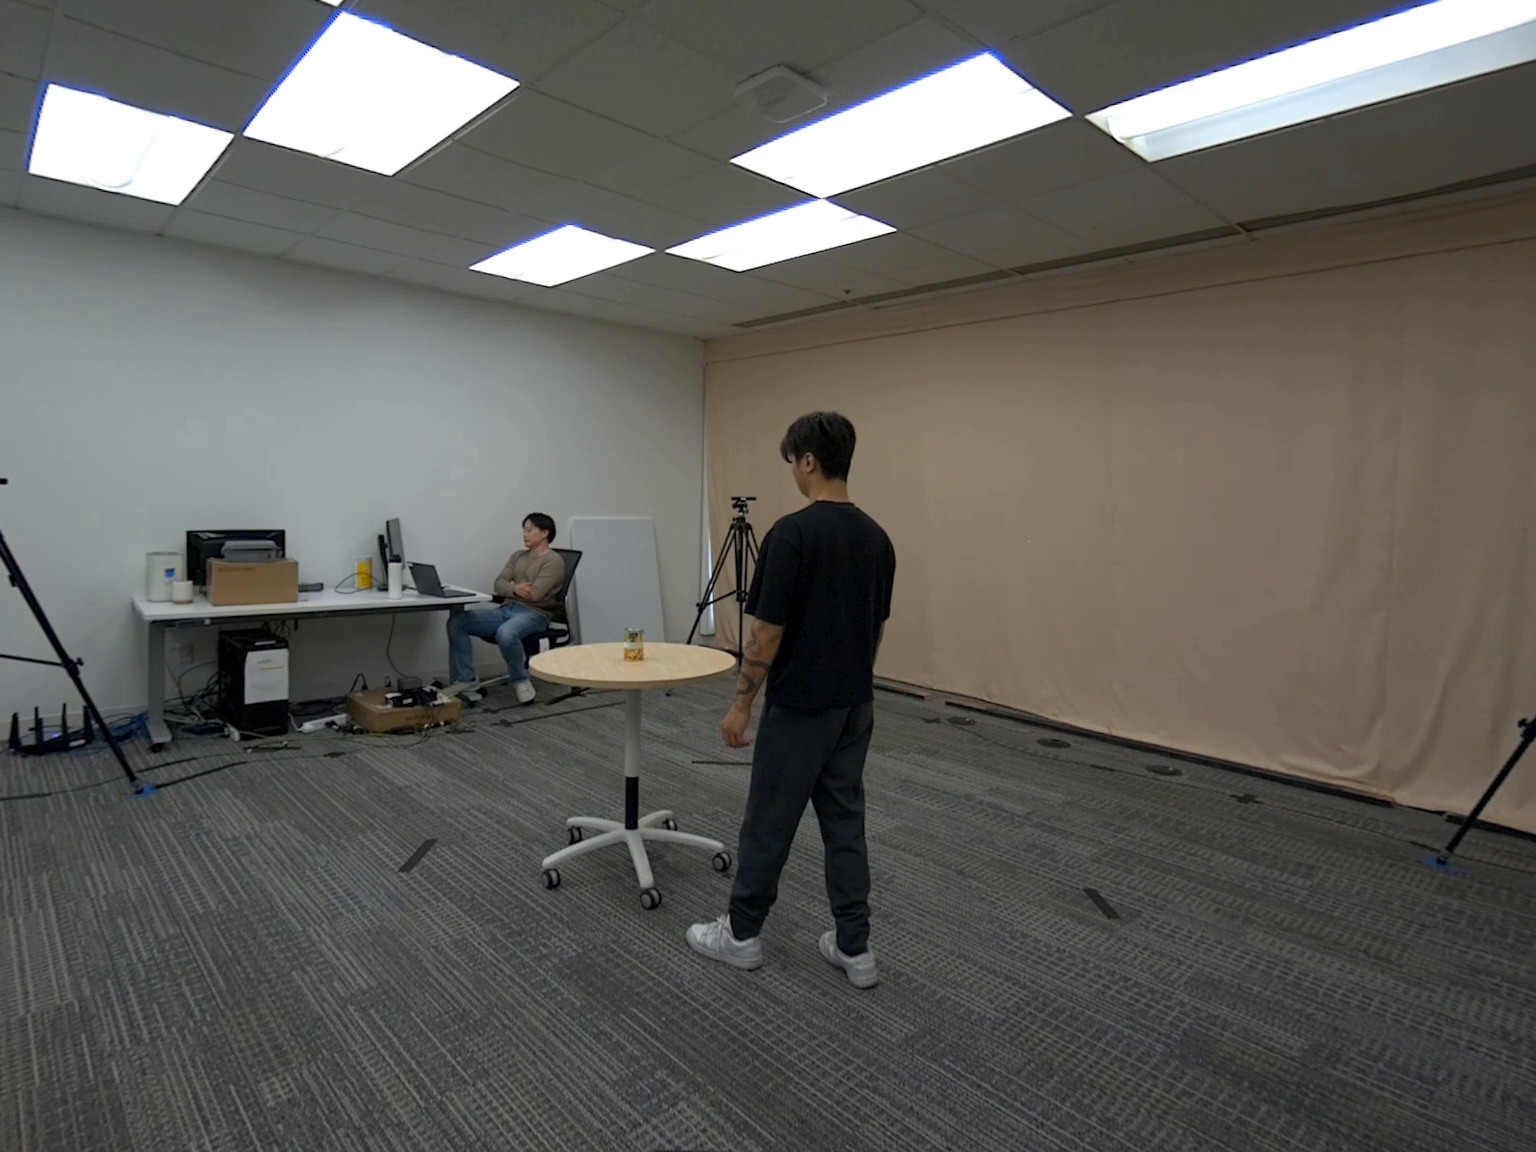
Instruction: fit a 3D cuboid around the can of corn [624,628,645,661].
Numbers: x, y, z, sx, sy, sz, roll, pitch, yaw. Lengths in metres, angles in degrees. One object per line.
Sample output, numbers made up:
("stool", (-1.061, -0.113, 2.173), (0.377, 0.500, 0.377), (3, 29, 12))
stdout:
("can of corn", (-0.511, 0.257, 3.139), (0.074, 0.111, 0.074), (0, 2, -1))
